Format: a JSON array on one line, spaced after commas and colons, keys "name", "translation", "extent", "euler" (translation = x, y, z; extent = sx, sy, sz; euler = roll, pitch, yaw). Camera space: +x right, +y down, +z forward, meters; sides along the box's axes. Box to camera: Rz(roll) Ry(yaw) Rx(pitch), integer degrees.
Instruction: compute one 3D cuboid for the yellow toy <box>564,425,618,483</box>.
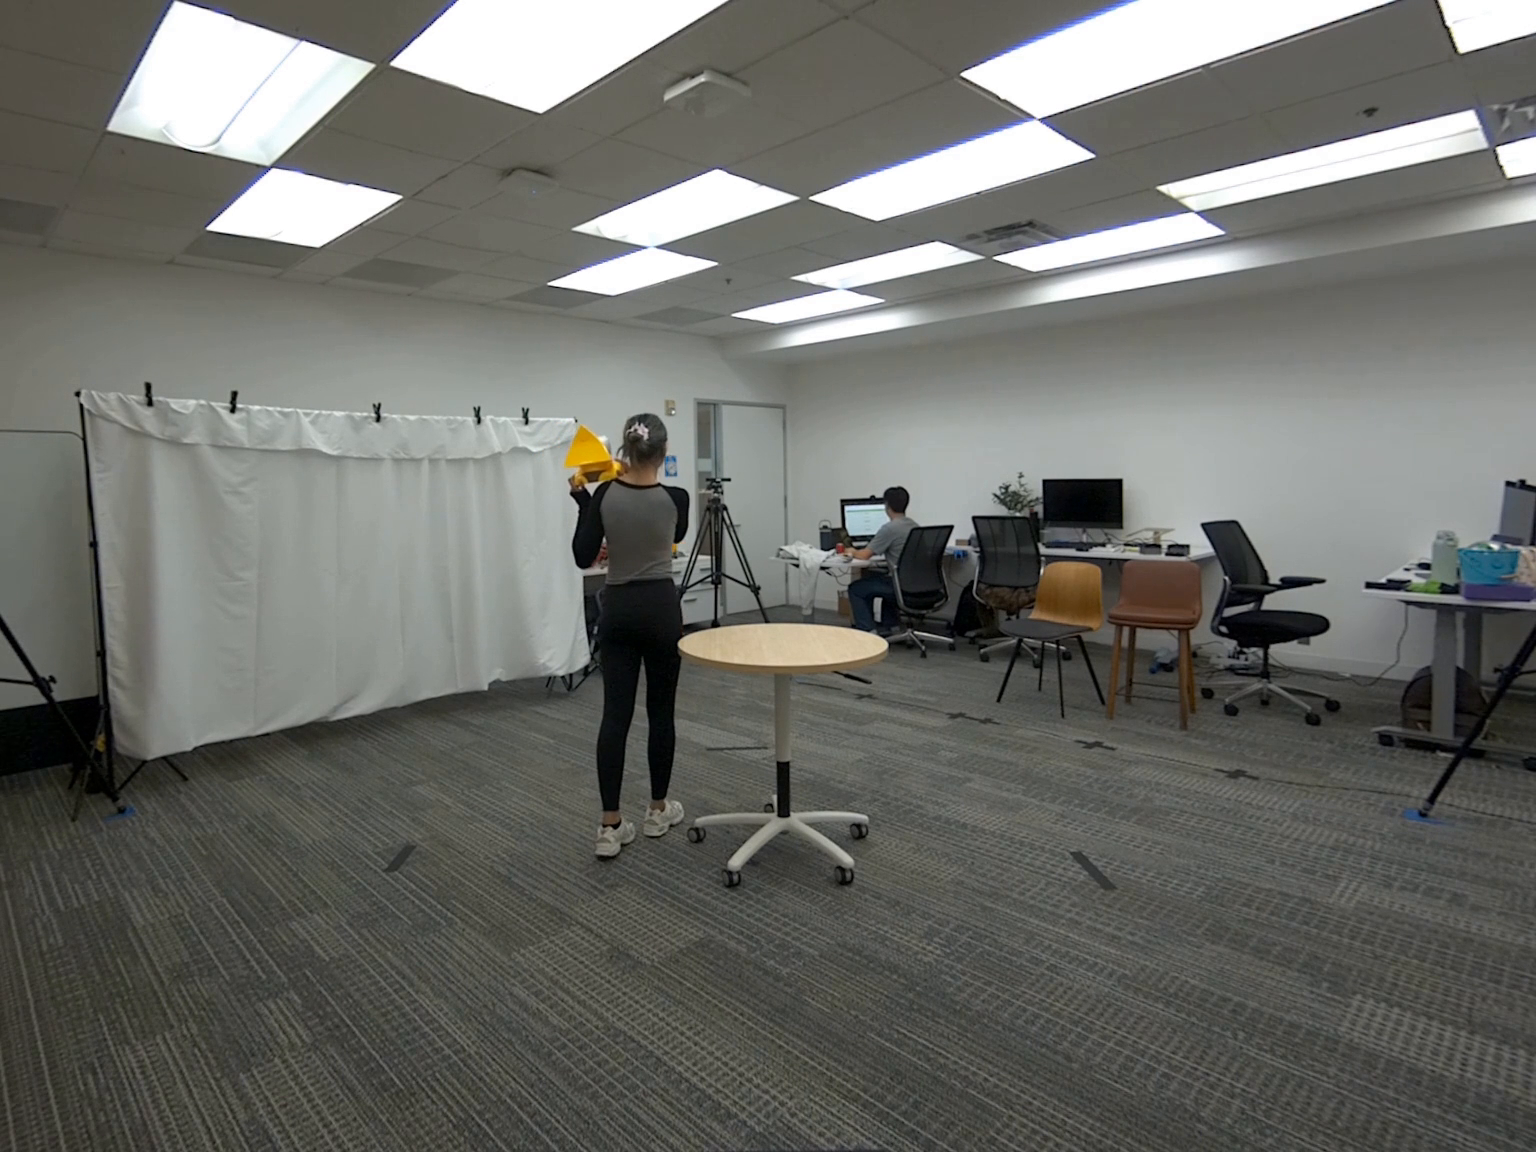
[{"name": "yellow toy", "translation": [-0.682, -0.496, 3.372], "extent": [0.207, 0.227, 0.193], "euler": [-7, 15, 14]}]
